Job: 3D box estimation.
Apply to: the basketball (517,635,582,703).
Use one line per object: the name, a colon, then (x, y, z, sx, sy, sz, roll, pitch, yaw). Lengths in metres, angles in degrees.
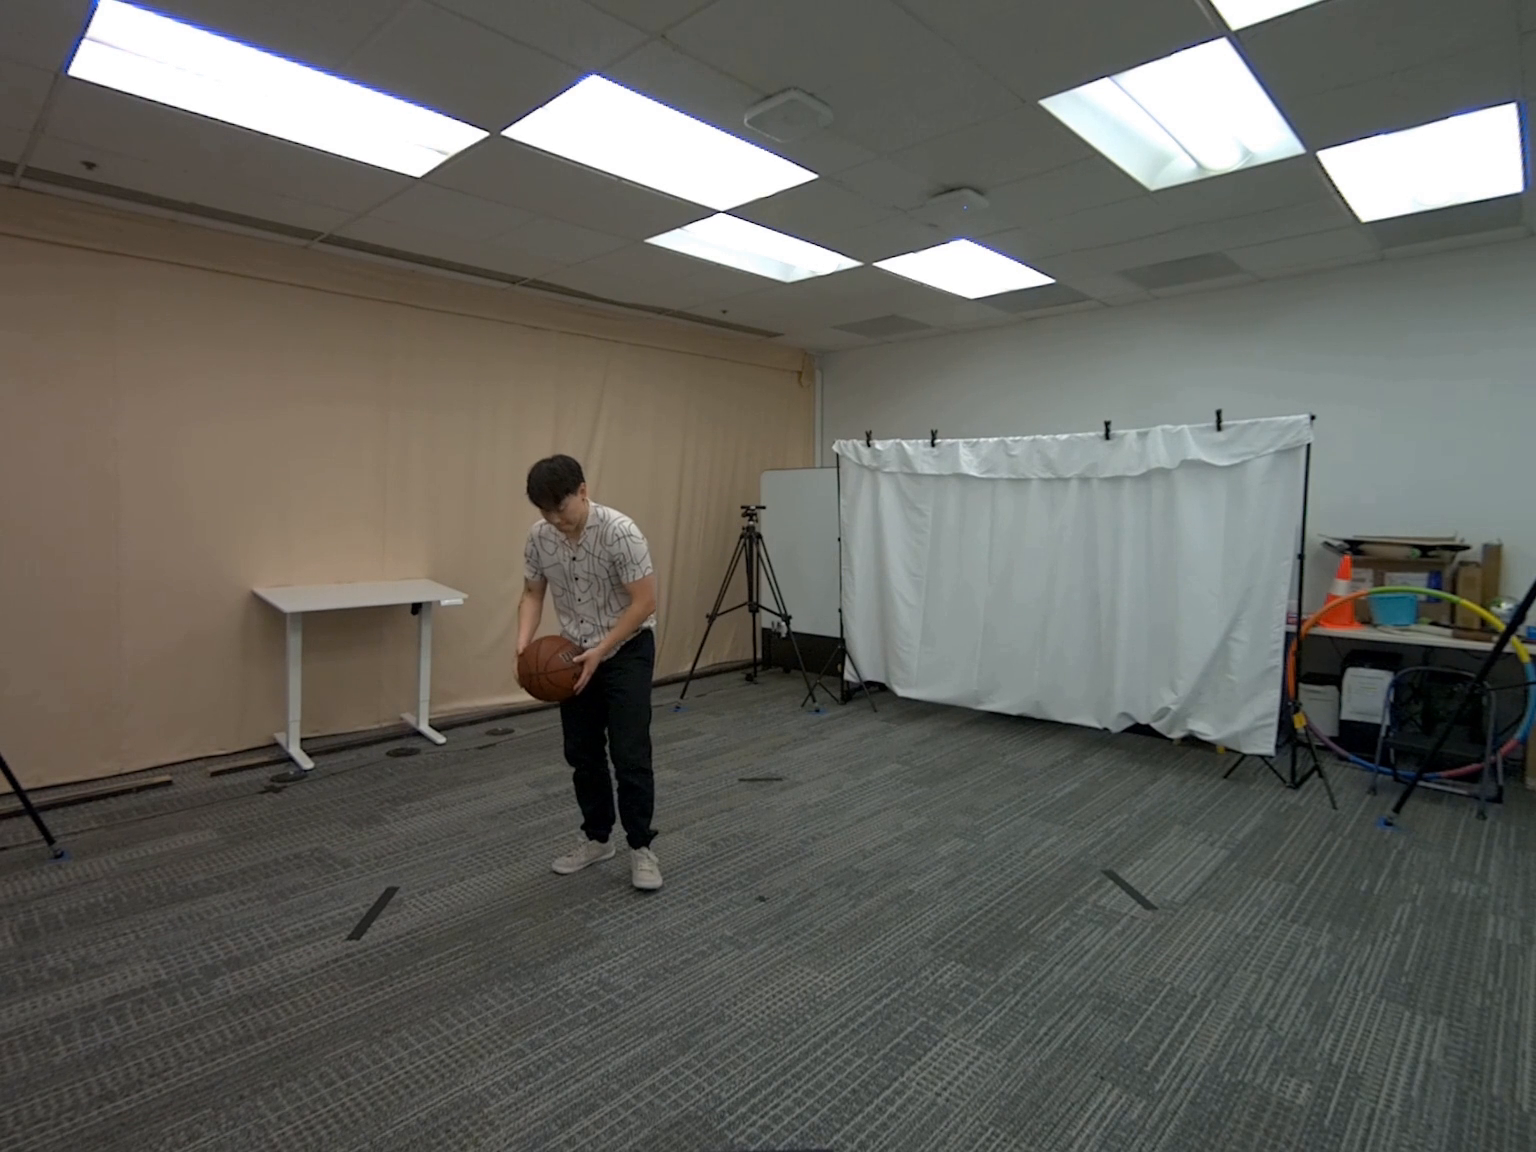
basketball: (-0.772, 0.337, 3.017, 0.236, 0.235, 0.237, 0, 4, -2)
